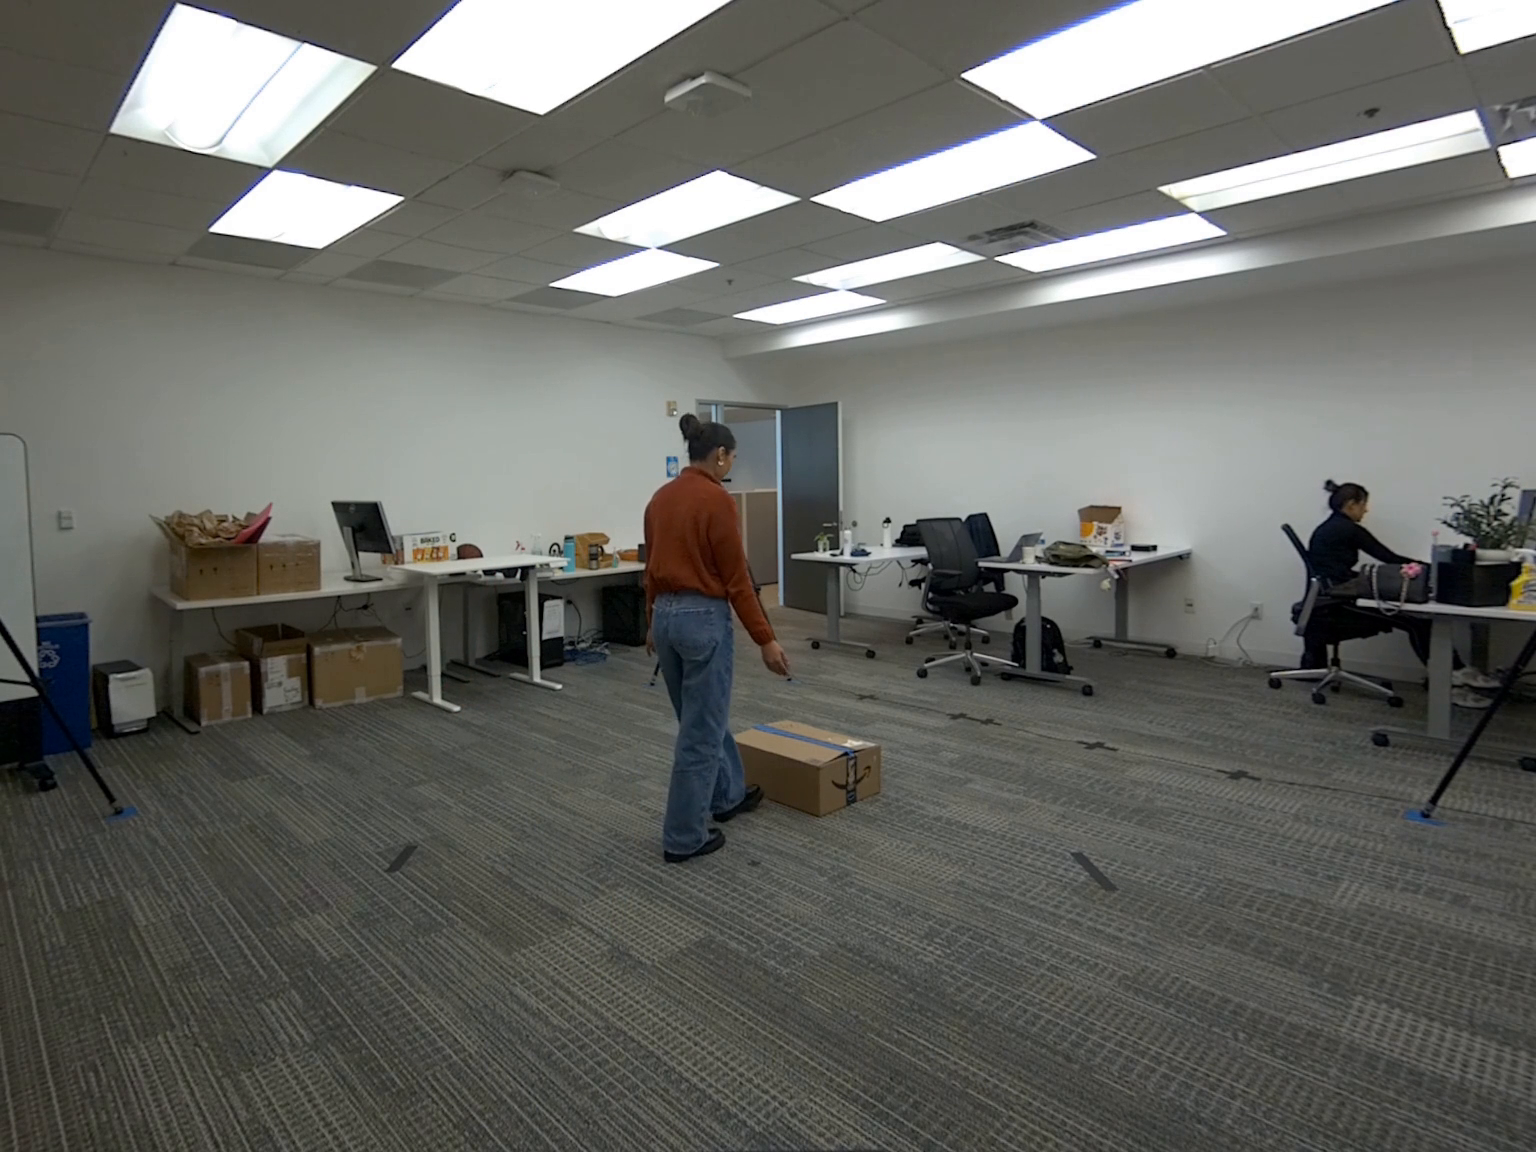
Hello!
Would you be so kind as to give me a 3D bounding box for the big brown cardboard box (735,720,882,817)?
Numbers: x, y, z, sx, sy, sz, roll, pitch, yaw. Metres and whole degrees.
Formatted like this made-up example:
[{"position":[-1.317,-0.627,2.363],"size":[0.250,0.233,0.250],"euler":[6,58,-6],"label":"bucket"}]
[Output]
[{"position":[0.157,0.847,3.845],"size":[0.607,0.232,0.406],"euler":[4,7,45],"label":"big brown cardboard box"}]
